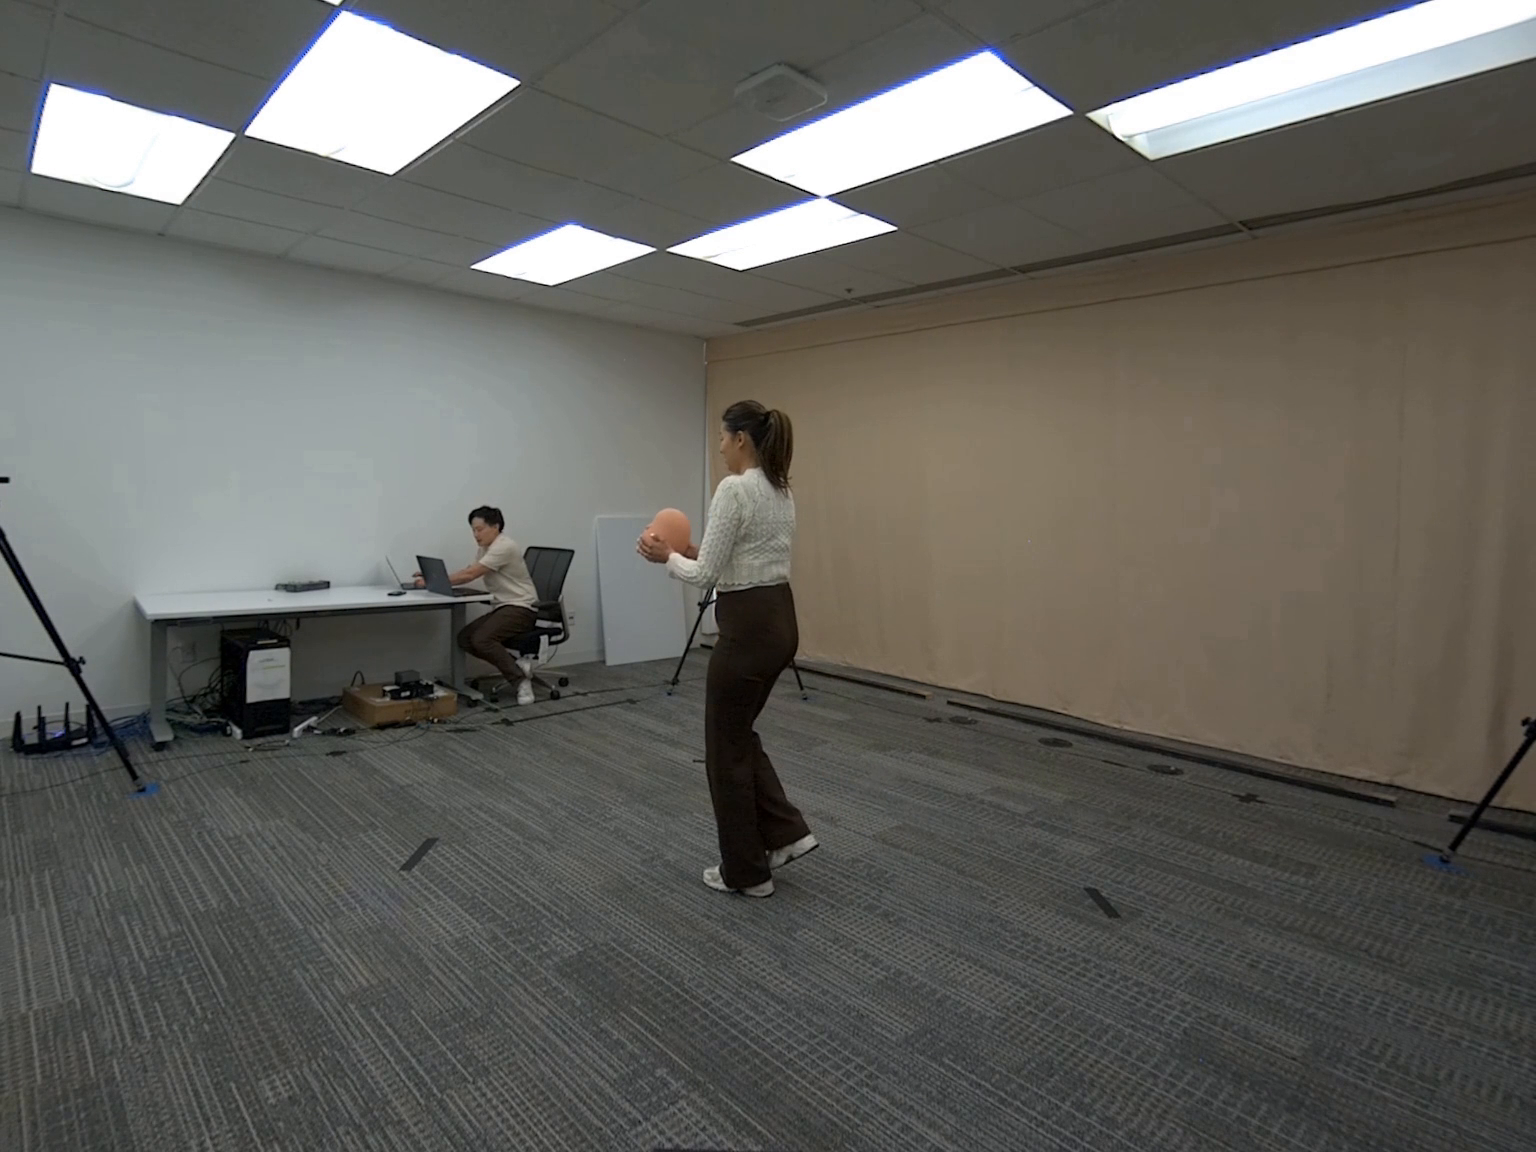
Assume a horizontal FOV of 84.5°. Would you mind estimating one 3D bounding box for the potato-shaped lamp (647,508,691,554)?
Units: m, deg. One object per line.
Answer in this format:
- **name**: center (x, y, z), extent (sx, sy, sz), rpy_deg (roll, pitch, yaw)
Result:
- **potato-shaped lamp**: center (-0.376, -0.152, 3.083), extent (0.174, 0.198, 0.162), rpy_deg (16, -3, 14)
